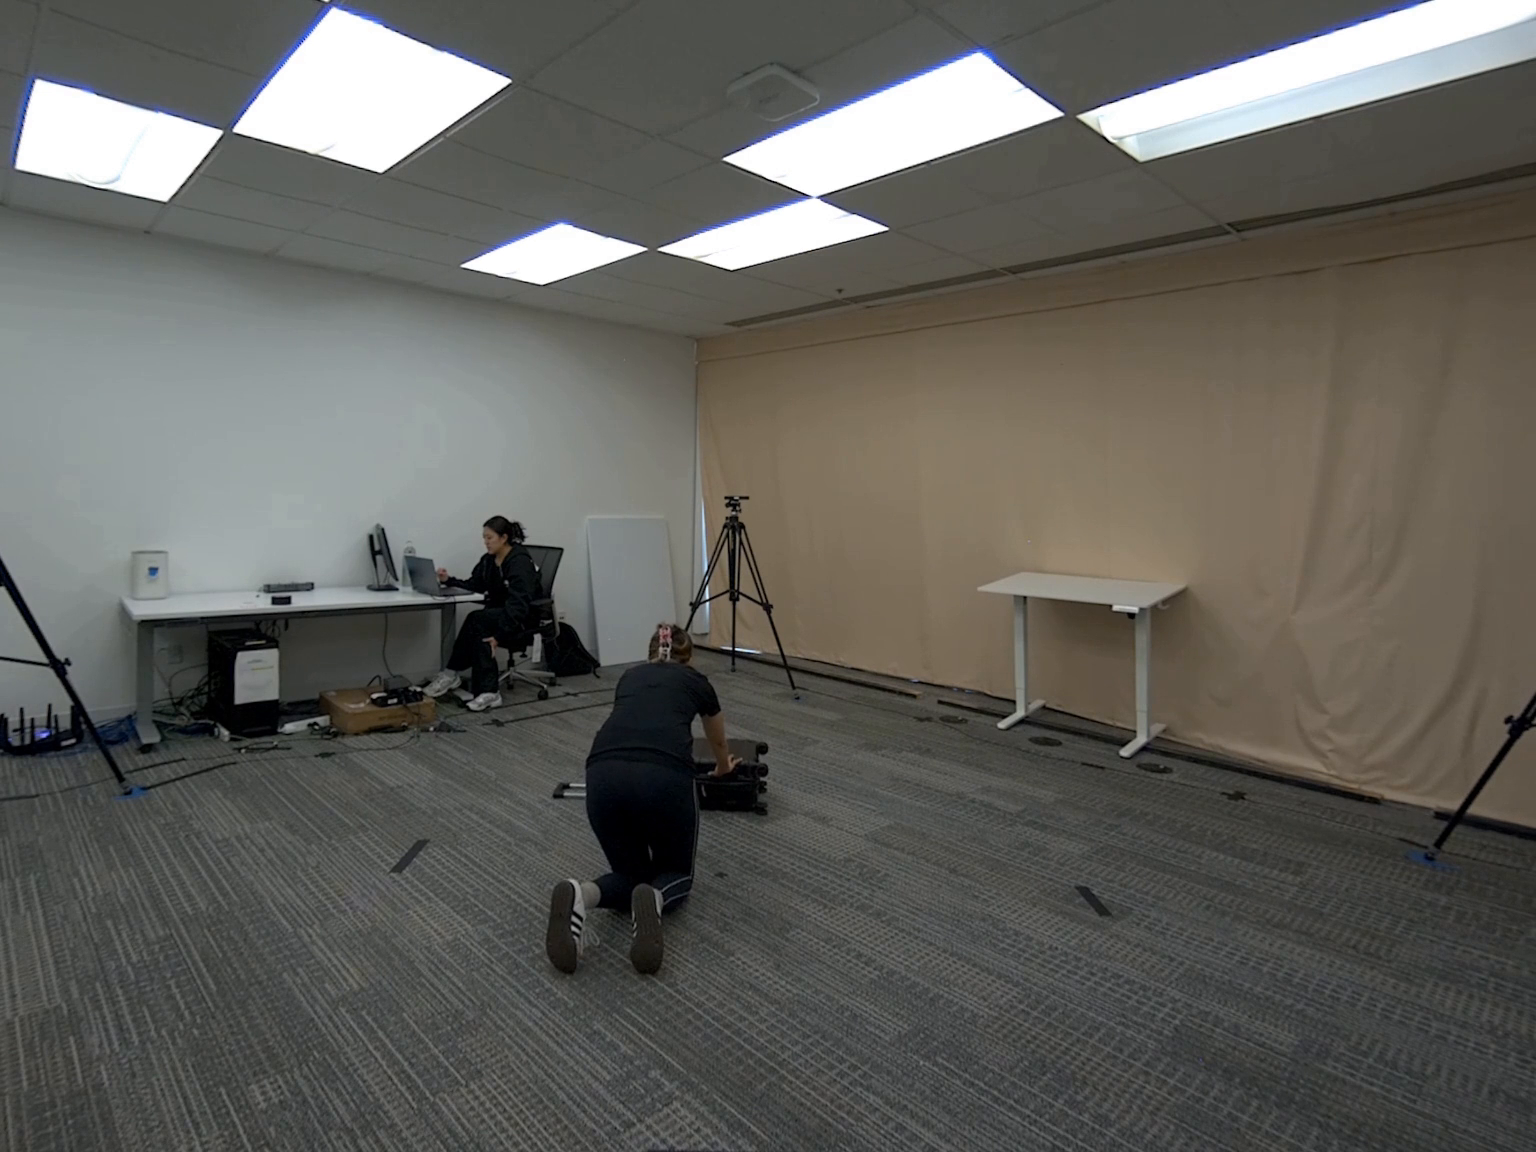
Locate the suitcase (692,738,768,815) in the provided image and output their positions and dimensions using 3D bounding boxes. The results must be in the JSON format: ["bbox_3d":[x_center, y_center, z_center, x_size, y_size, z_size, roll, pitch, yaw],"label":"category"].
[{"bbox_3d":[-0.491,0.902,3.905,0.980,0.256,0.385,3,6,2],"label":"suitcase"}]
